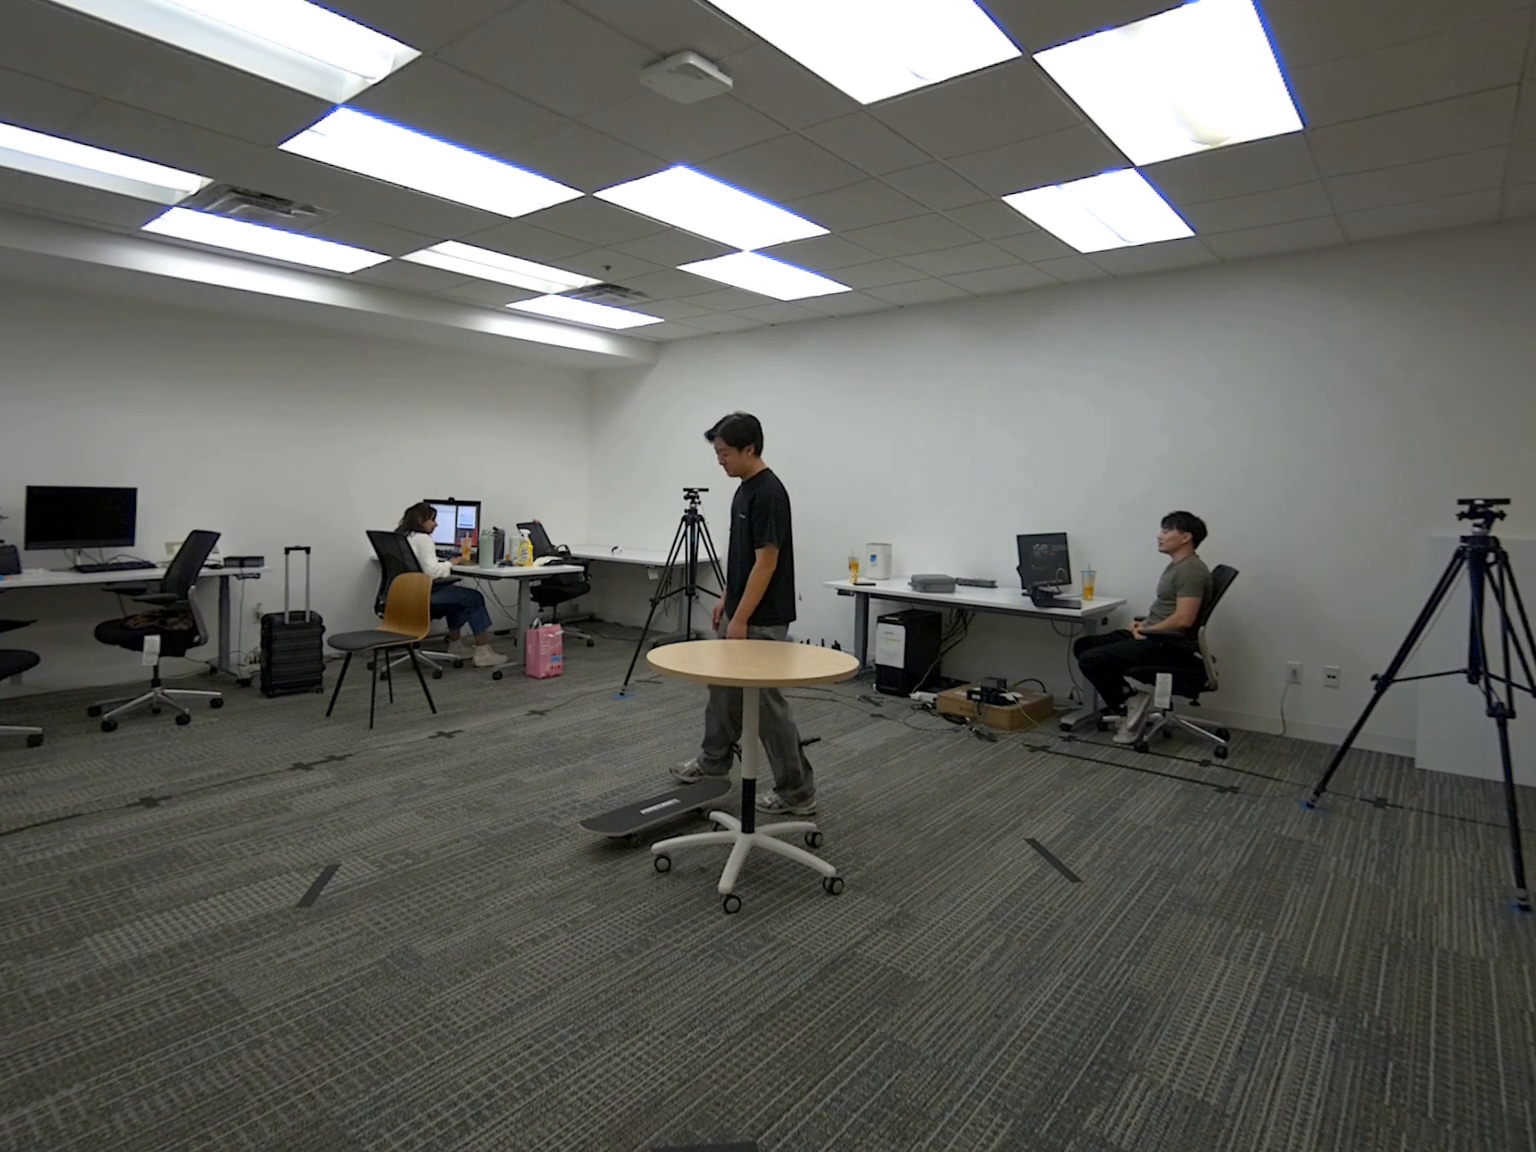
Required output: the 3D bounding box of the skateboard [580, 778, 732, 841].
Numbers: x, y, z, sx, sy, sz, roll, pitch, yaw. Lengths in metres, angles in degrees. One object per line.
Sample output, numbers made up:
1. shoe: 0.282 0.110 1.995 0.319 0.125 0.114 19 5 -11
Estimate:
1. skateboard: -0.448 0.978 3.488 0.200 0.110 0.762 6 7 41
